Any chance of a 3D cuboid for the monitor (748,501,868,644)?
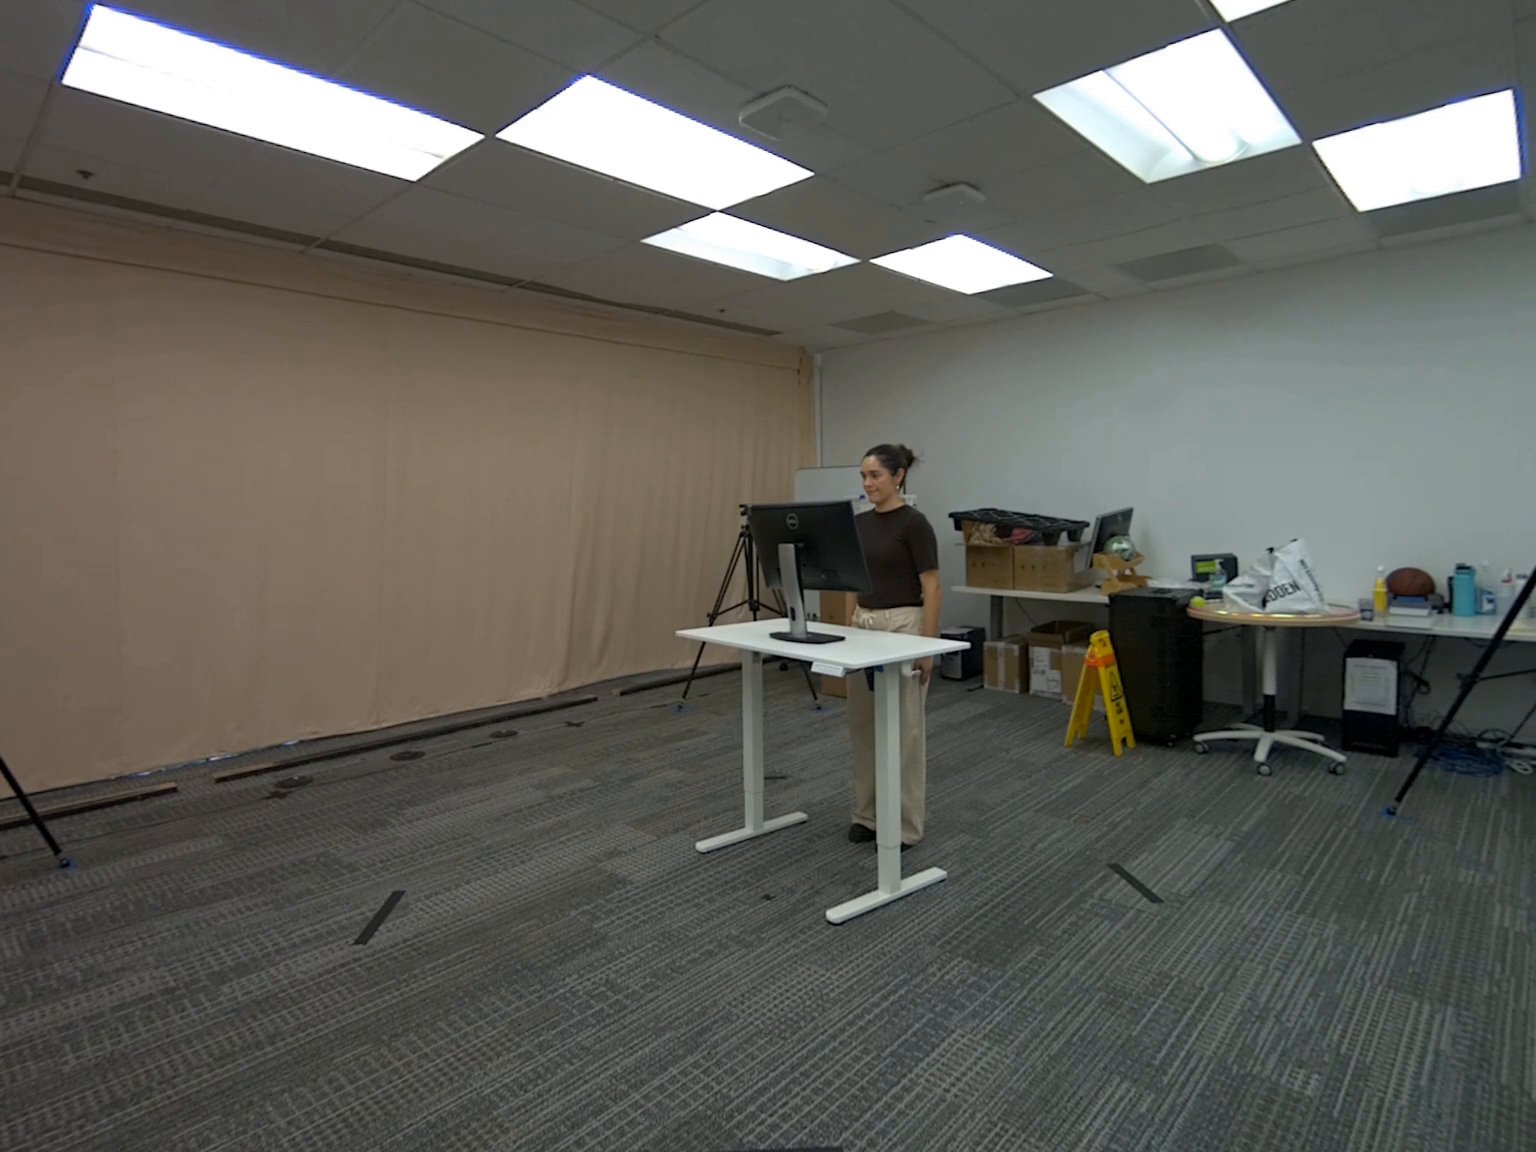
[{"bbox_3d":[0.135,-0.015,3.162,0.557,0.521,0.182,1,7,44],"label":"monitor"}]
